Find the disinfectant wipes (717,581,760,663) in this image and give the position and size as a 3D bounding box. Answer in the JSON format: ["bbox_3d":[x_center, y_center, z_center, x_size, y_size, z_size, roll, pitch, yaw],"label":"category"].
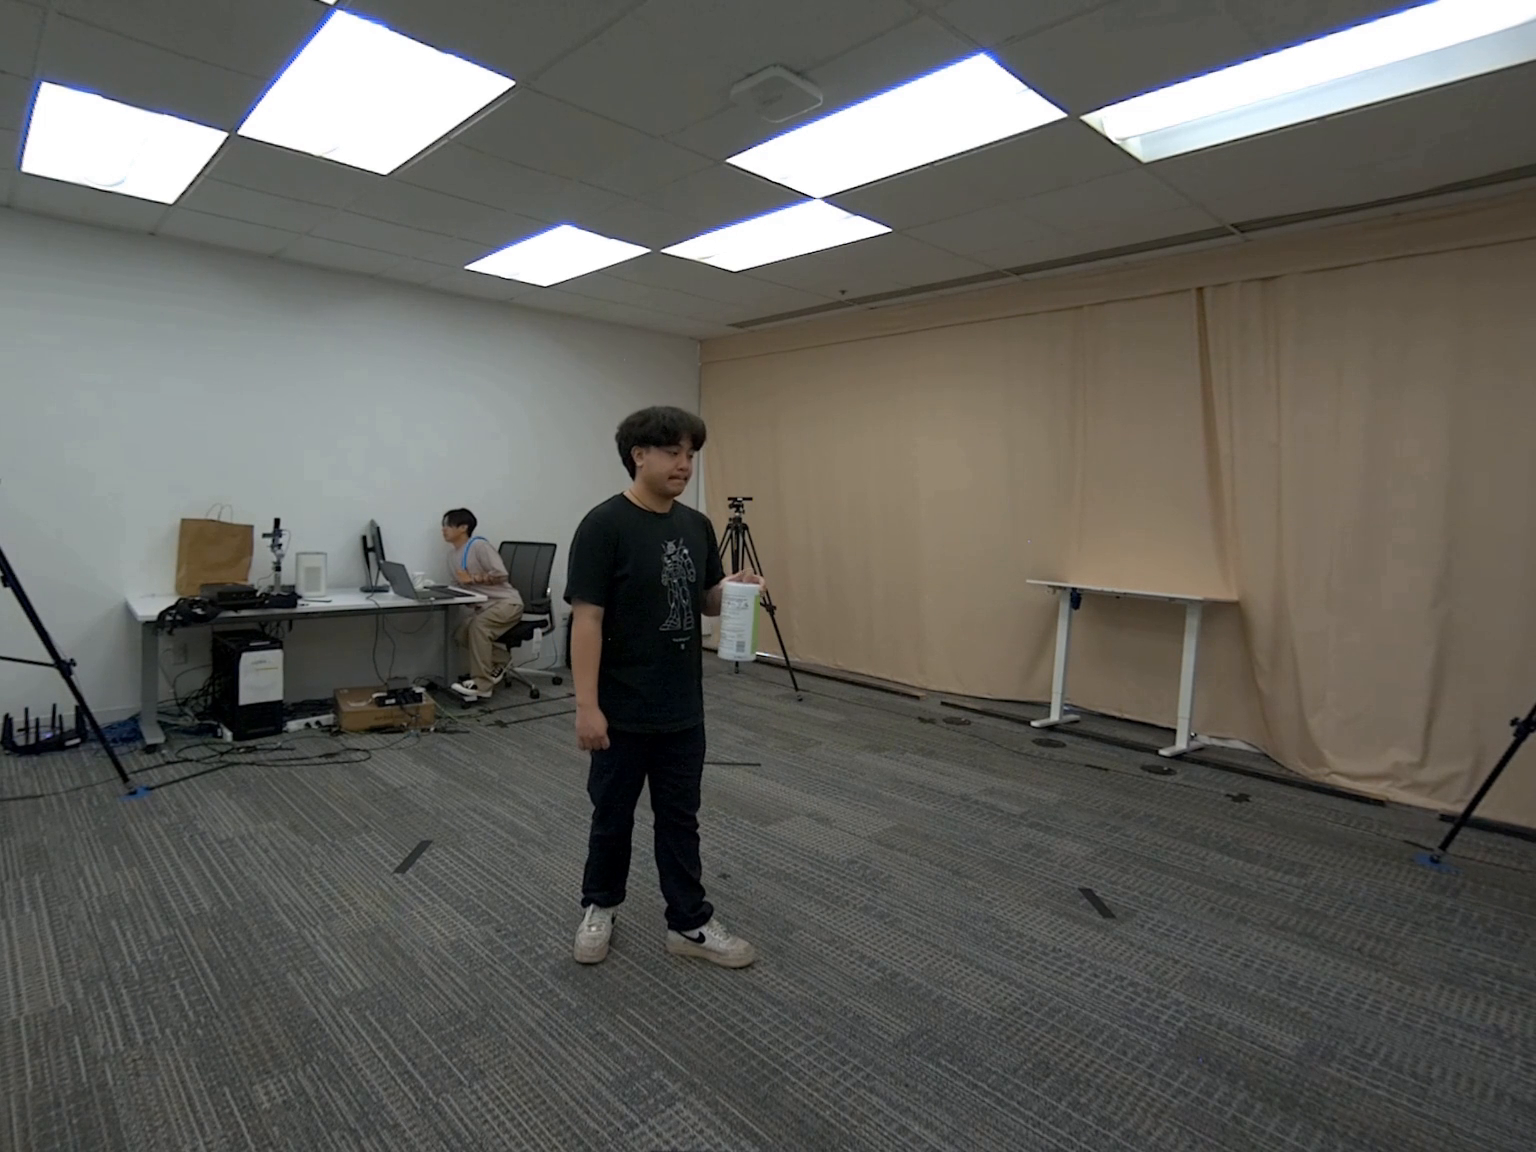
[{"bbox_3d":[-0.101,0.130,2.351,0.118,0.217,0.118,4,3,-2],"label":"disinfectant wipes"}]
